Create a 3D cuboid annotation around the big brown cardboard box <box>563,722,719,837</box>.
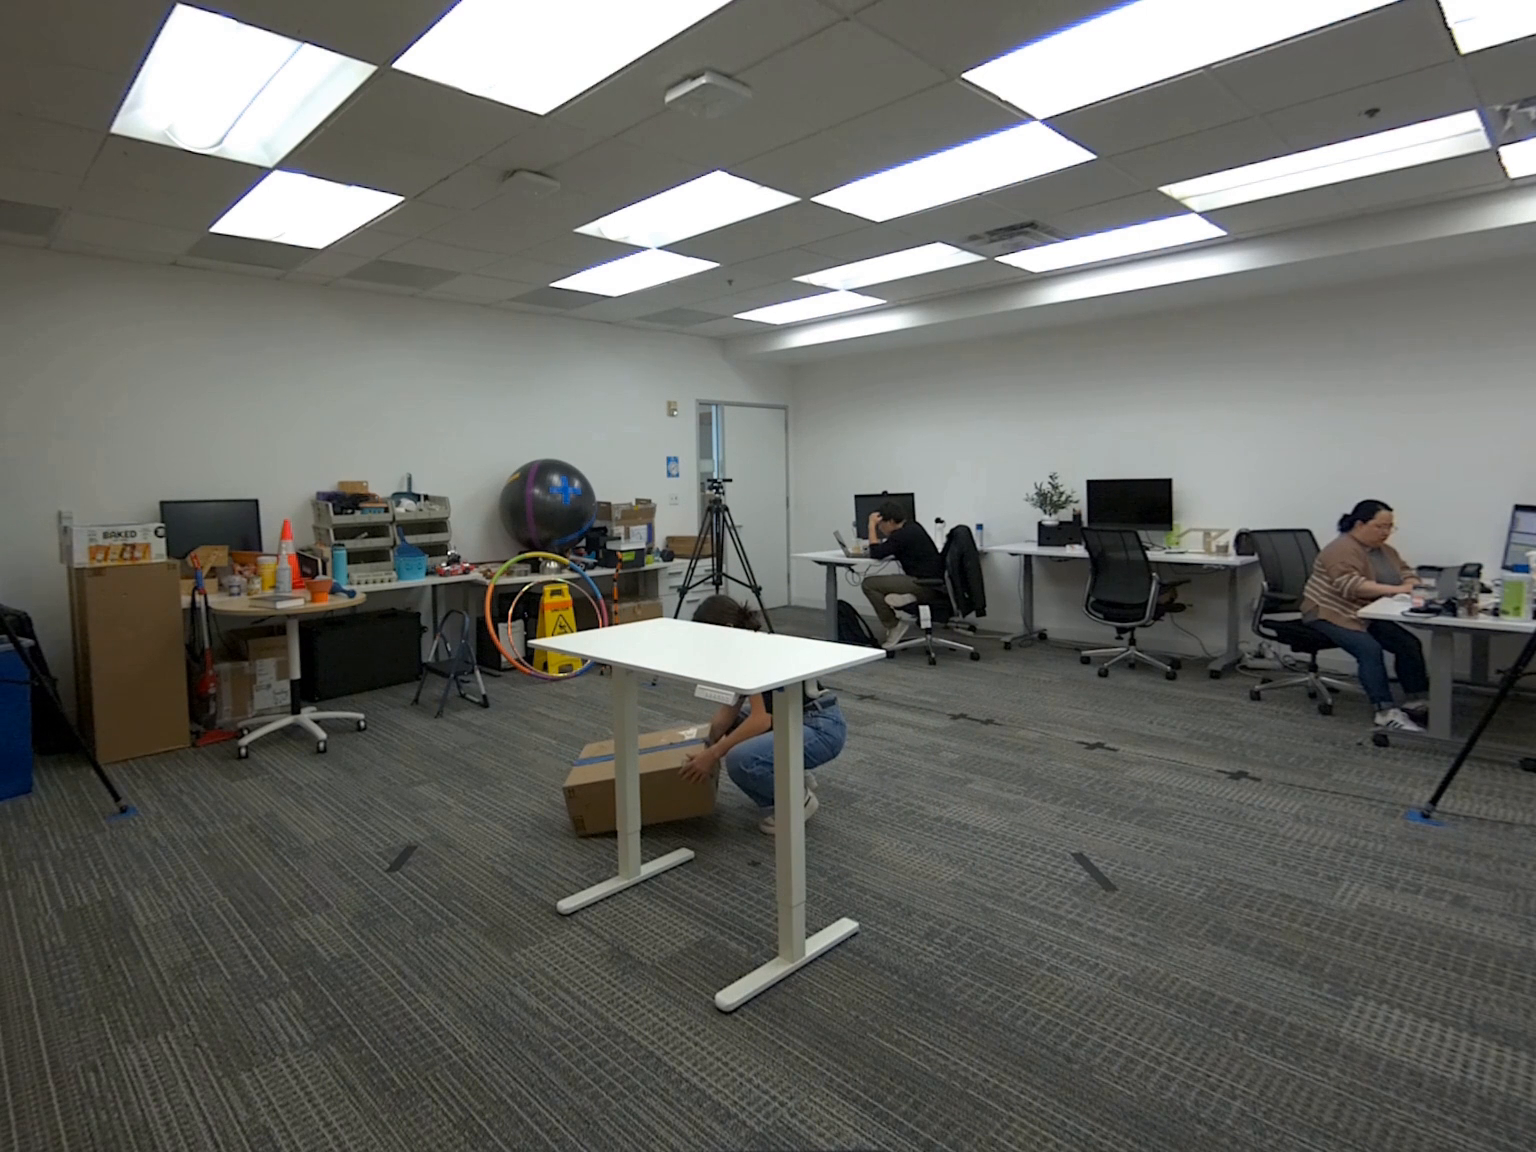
[{"bbox_3d":[-0.500,0.826,3.518,0.591,0.231,0.420,-12,10,3],"label":"big brown cardboard box"}]
